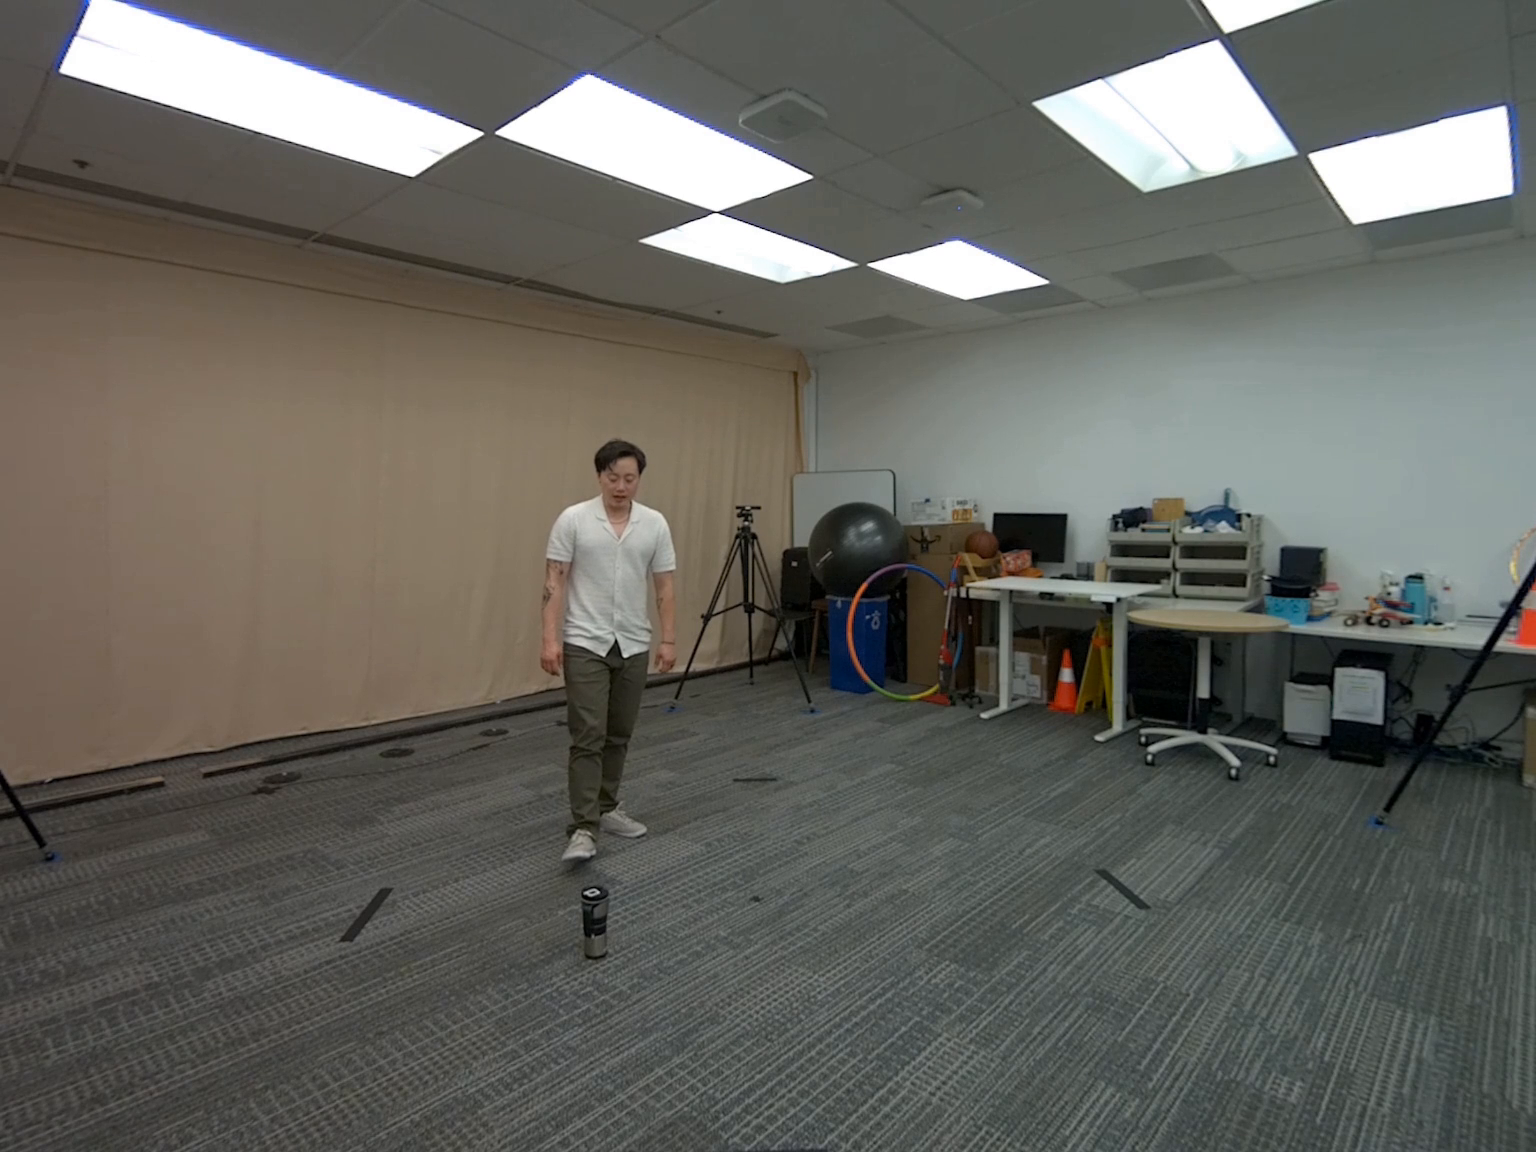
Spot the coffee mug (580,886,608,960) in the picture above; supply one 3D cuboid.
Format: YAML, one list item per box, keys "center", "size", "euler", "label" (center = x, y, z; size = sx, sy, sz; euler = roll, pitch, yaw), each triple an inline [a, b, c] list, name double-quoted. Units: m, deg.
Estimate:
- center: [-0.548, 1.079, 2.595]
  size: [0.091, 0.203, 0.118]
  euler: [4, 2, 34]
  label: "coffee mug"
